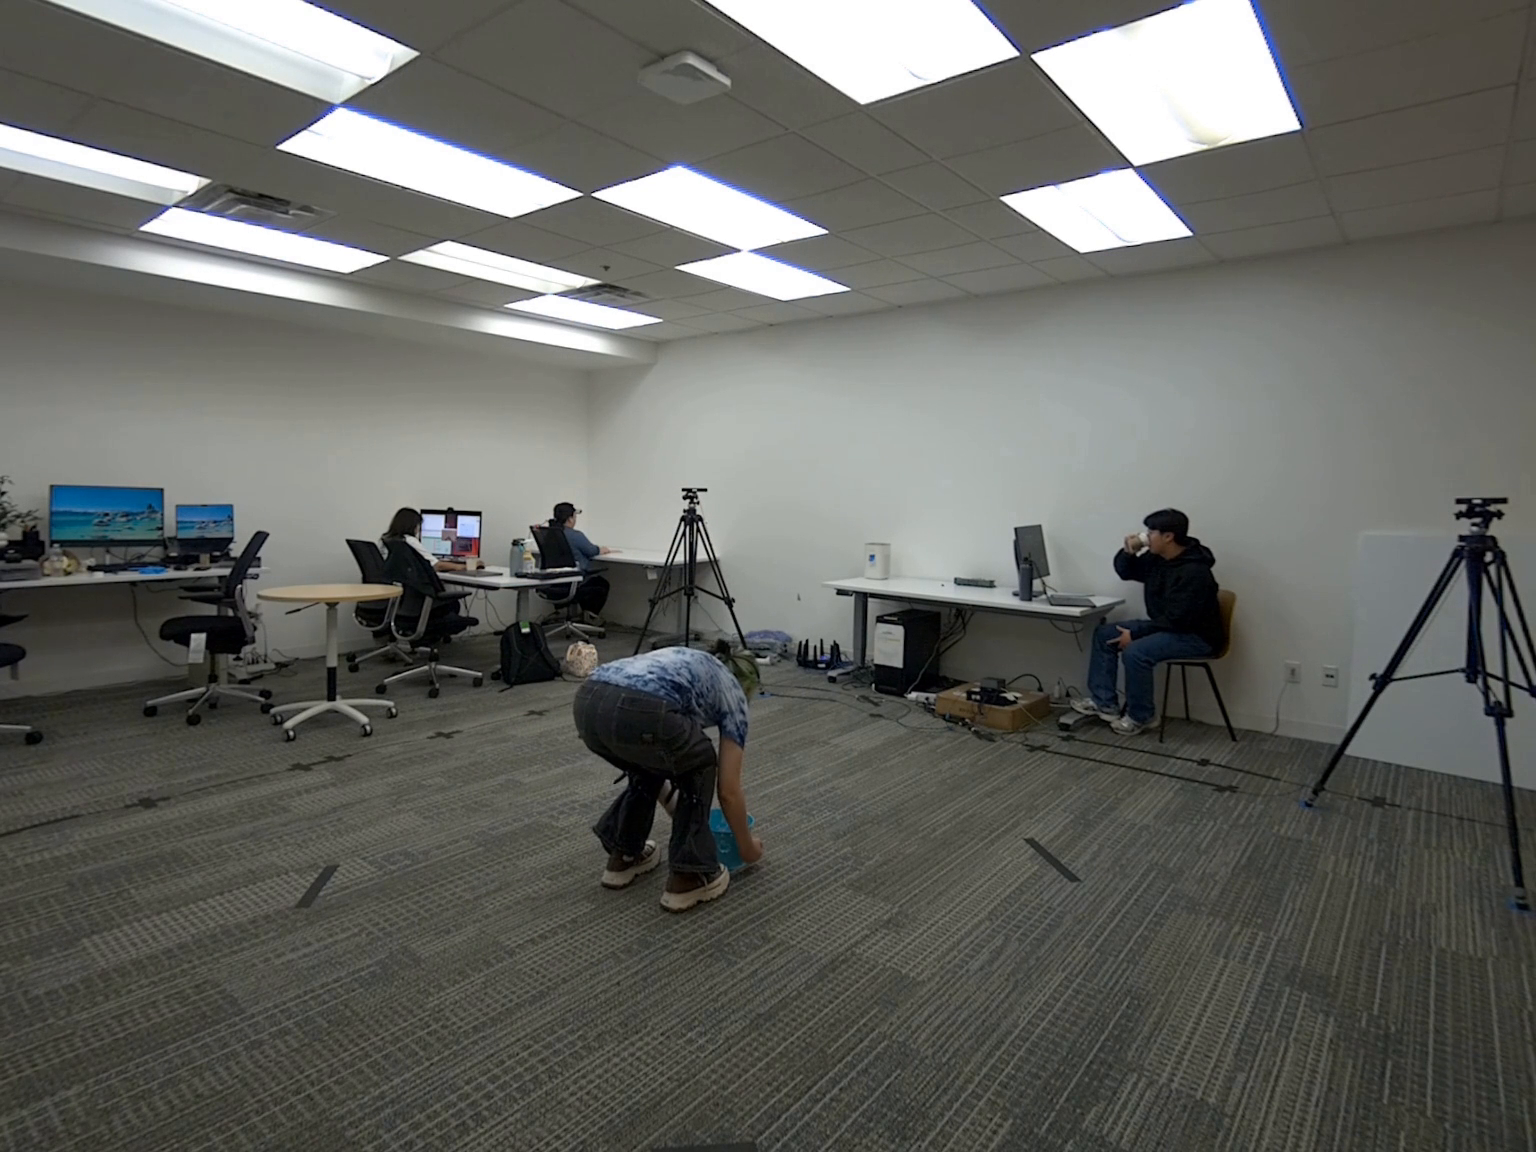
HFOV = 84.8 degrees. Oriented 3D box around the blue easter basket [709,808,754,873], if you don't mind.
[{"bbox_3d":[-0.177,0.986,3.183,0.243,0.155,0.245,1,5,-2],"label":"blue easter basket"}]
